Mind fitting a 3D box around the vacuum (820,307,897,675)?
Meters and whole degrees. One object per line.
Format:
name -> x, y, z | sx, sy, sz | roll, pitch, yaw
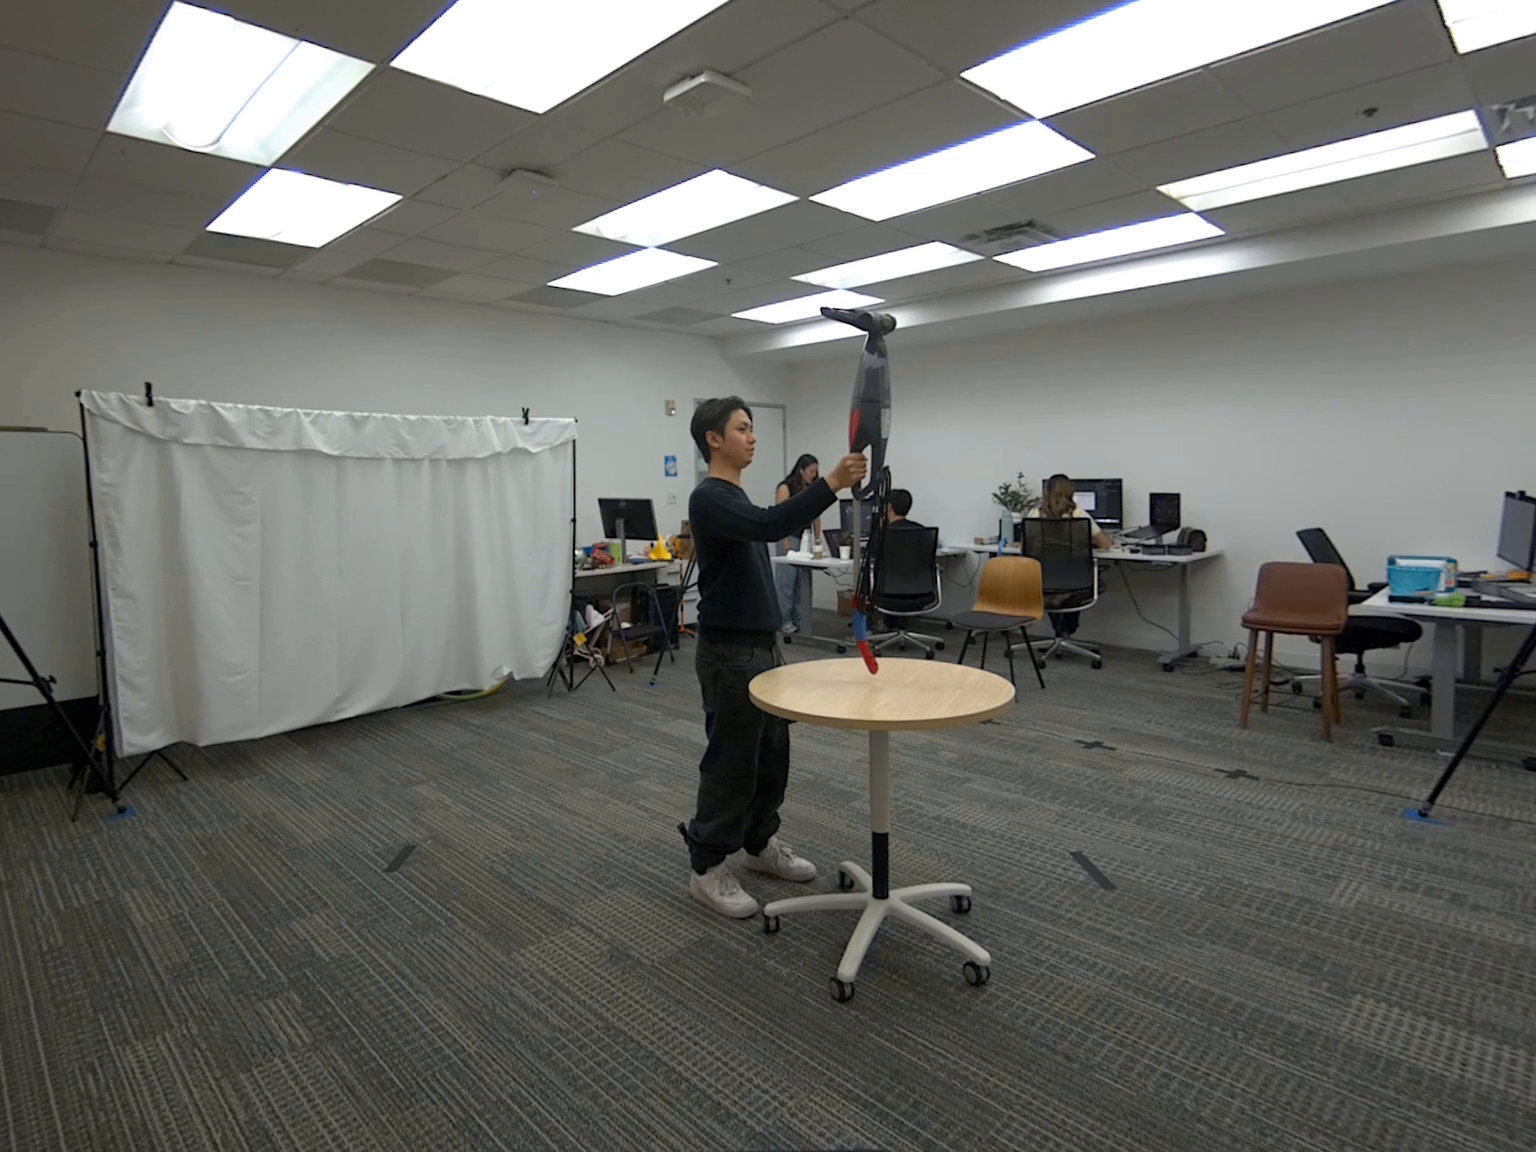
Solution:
vacuum -> 0.304, -0.230, 2.466 | 0.148, 1.042, 0.247 | 4, 10, 41
